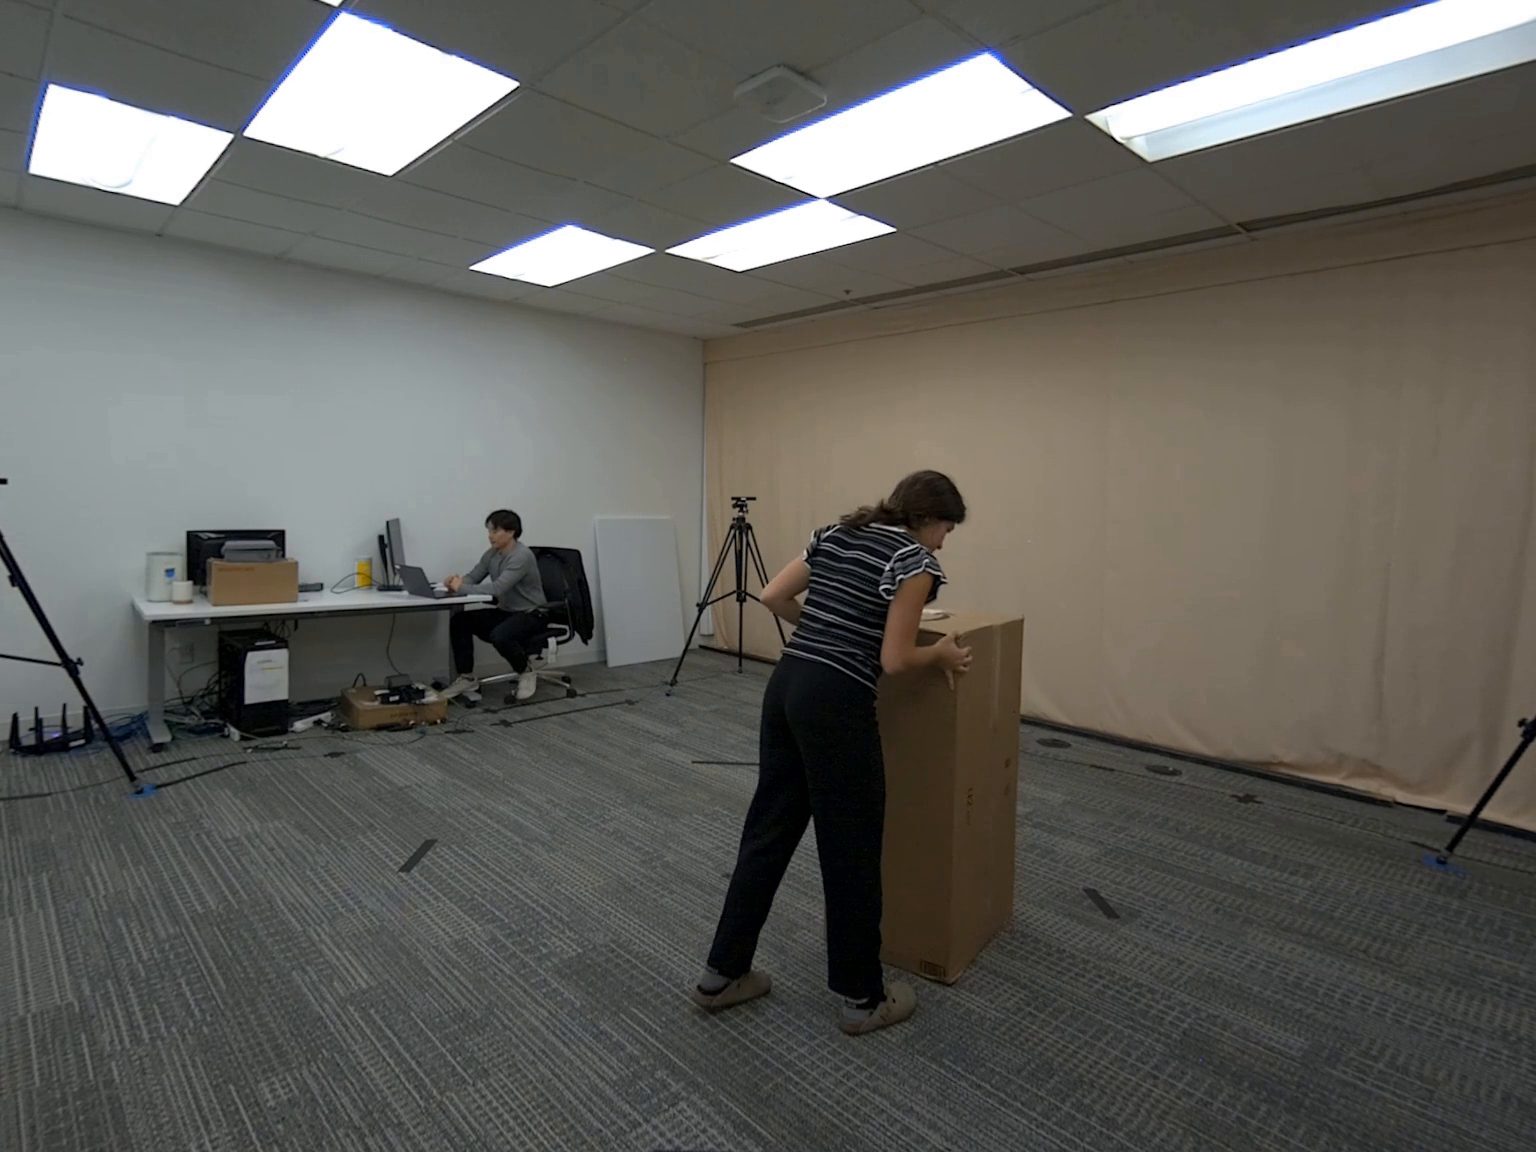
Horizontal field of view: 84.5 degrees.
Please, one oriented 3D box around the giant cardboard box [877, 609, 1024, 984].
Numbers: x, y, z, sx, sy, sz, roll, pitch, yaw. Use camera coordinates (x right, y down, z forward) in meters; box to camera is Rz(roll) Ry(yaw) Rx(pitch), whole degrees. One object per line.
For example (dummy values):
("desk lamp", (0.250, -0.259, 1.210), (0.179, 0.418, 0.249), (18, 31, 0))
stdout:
("giant cardboard box", (0.513, 0.650, 2.754), (0.436, 1.024, 0.565), (3, 3, 36))
